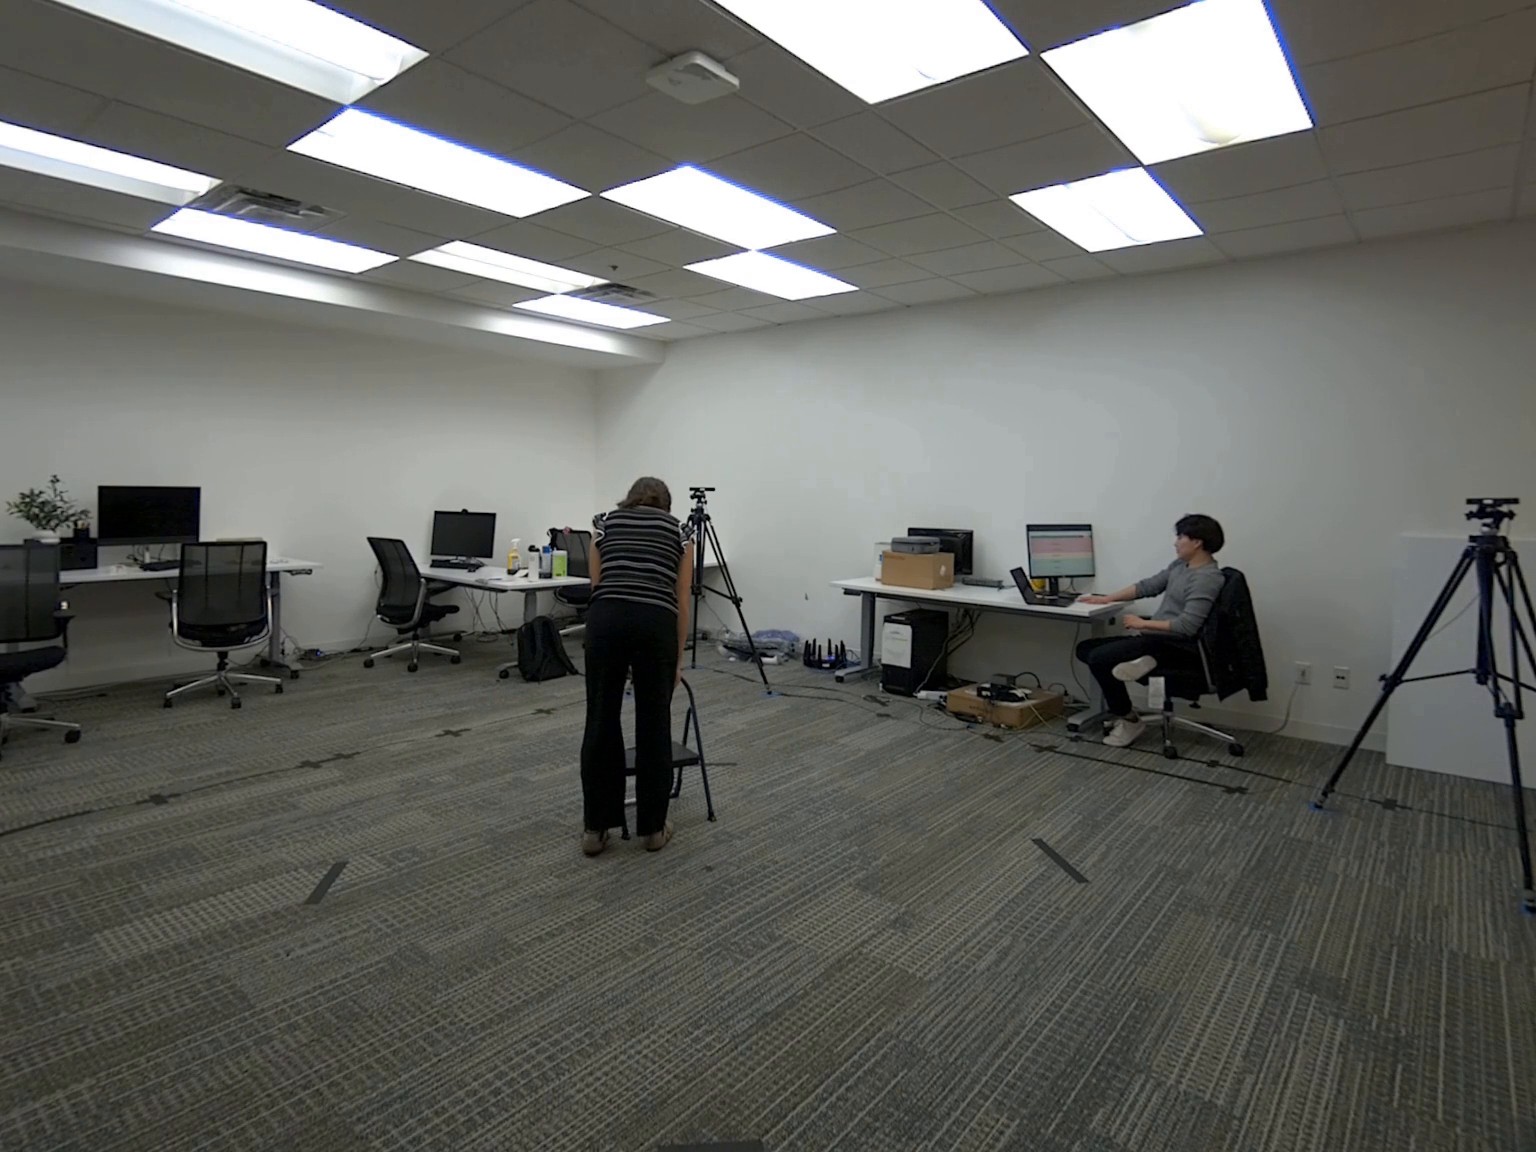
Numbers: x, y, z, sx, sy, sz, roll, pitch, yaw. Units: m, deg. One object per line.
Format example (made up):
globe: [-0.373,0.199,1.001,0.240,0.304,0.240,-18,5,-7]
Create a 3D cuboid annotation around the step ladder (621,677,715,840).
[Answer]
step ladder: [-0.492,0.710,3.594,0.418,0.605,0.360,-1,3,-33]
